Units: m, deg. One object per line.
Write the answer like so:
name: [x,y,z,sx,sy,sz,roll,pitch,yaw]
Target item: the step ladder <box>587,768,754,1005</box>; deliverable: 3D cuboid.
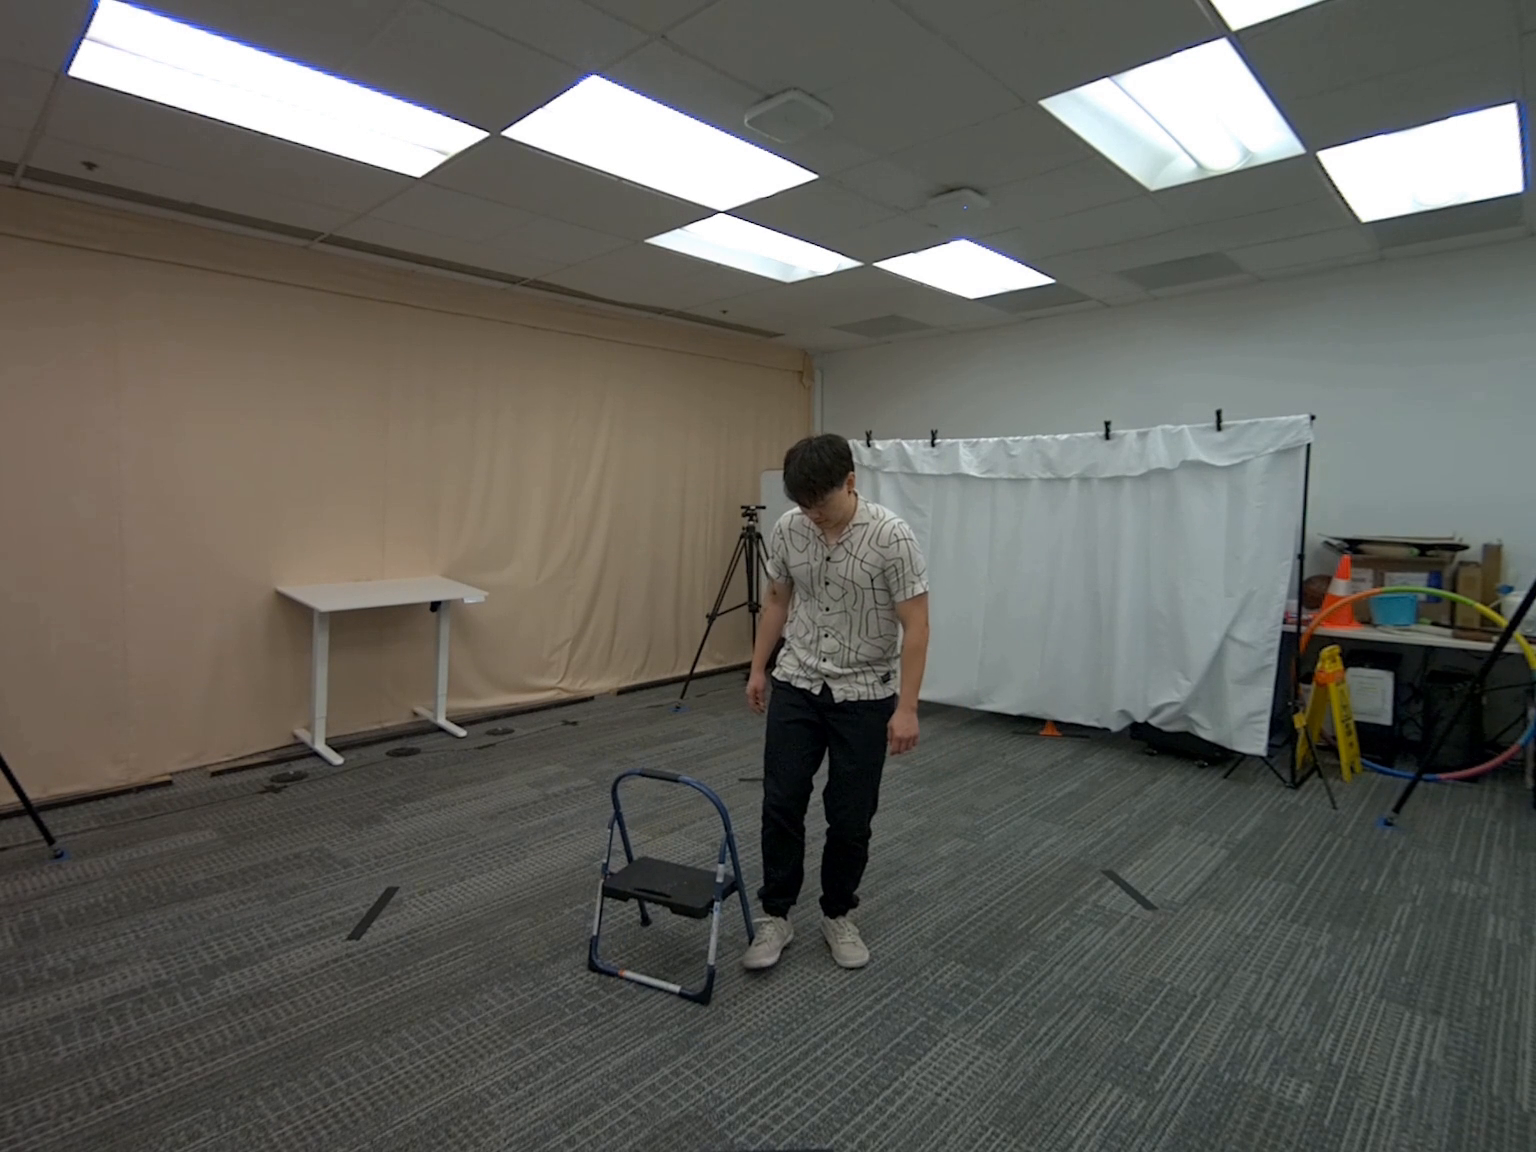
step ladder: [-0.291,0.881,2.572,0.442,0.605,0.341,1,3,25]
